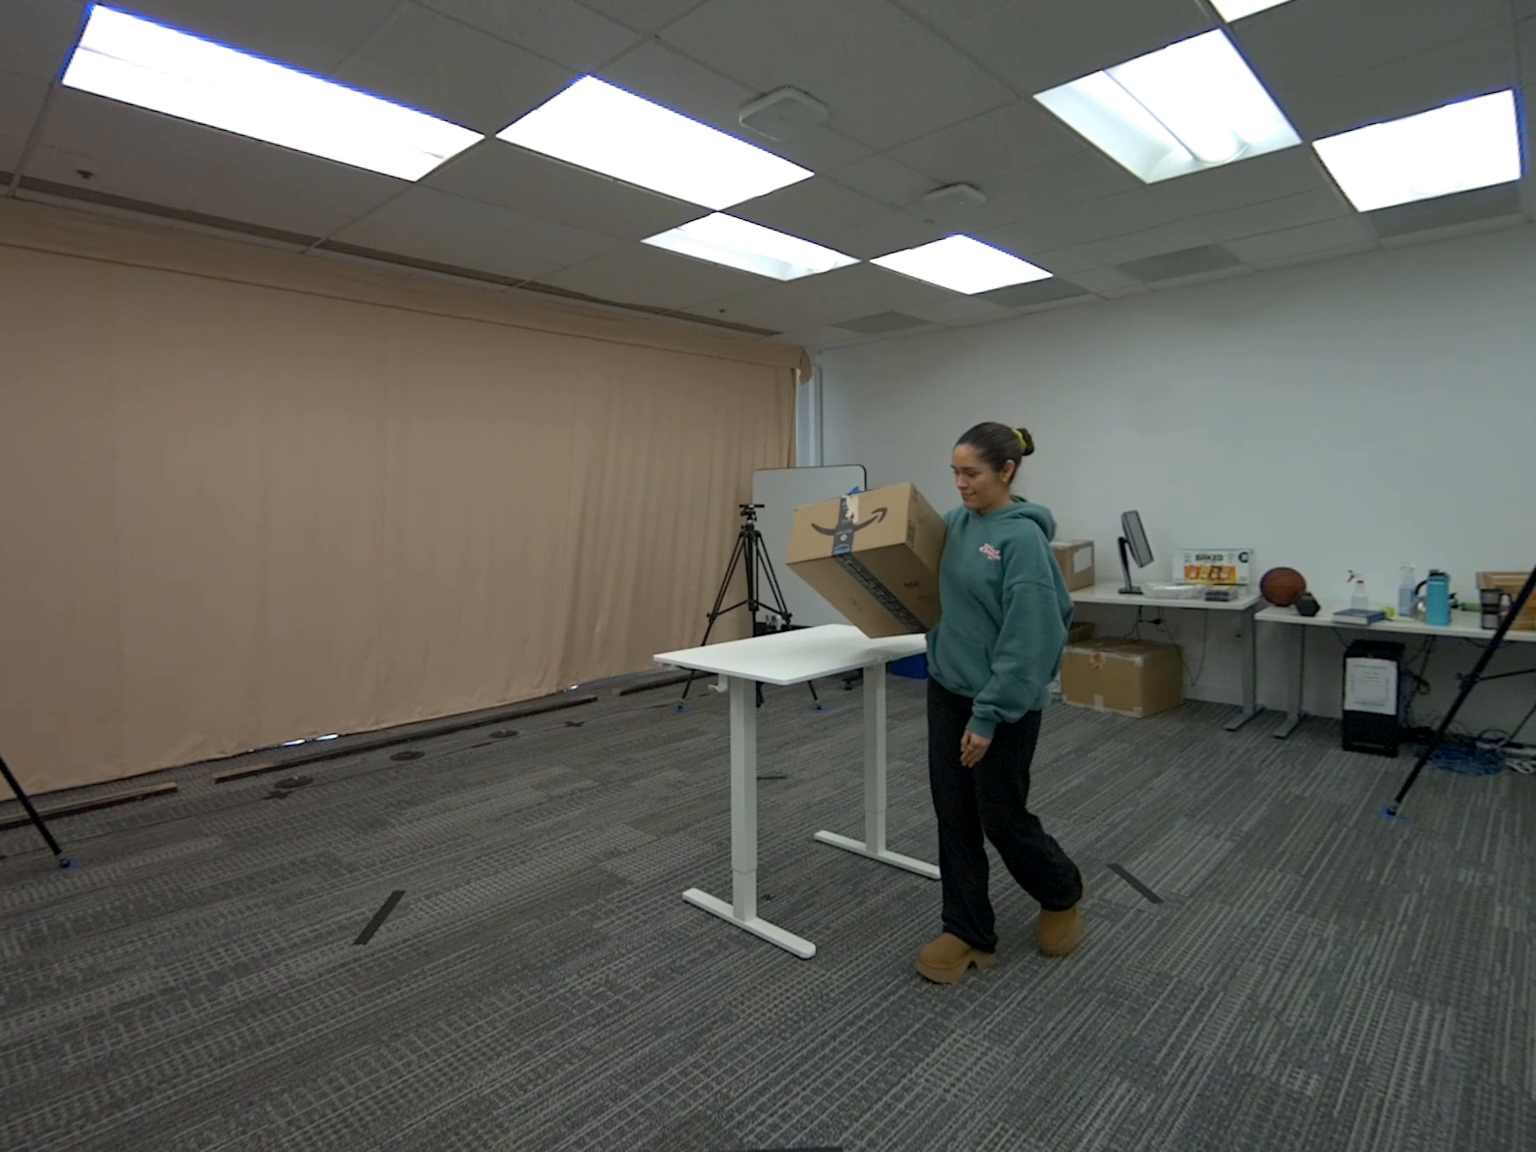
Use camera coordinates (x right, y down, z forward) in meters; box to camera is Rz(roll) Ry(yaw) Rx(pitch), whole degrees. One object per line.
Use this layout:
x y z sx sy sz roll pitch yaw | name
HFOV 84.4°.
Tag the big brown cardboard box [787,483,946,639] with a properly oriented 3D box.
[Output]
0.405 -0.023 2.739 0.428 0.235 0.568 -11 -34 35 | big brown cardboard box
